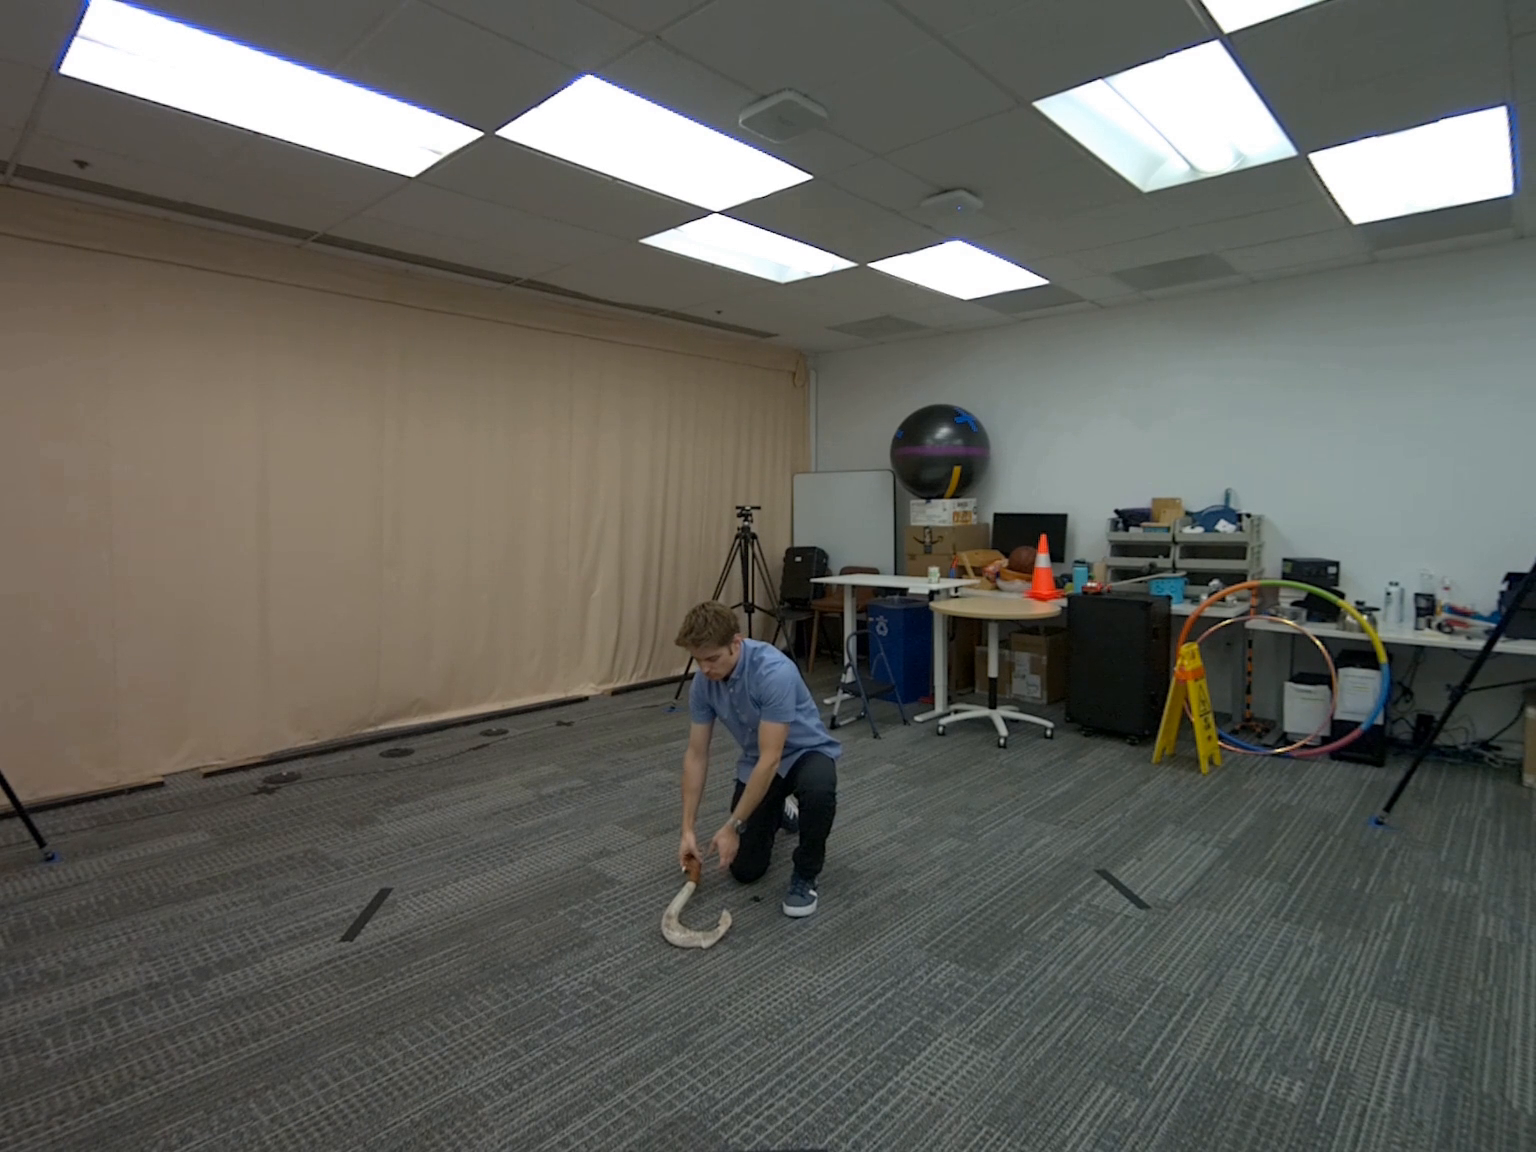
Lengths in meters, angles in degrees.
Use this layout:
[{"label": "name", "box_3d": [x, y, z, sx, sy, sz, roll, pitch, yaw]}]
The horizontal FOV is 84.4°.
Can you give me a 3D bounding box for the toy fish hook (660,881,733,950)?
[{"label": "toy fish hook", "box_3d": [-0.220, 1.103, 2.885, 0.226, 0.048, 0.508, 6, 15, 3]}]
